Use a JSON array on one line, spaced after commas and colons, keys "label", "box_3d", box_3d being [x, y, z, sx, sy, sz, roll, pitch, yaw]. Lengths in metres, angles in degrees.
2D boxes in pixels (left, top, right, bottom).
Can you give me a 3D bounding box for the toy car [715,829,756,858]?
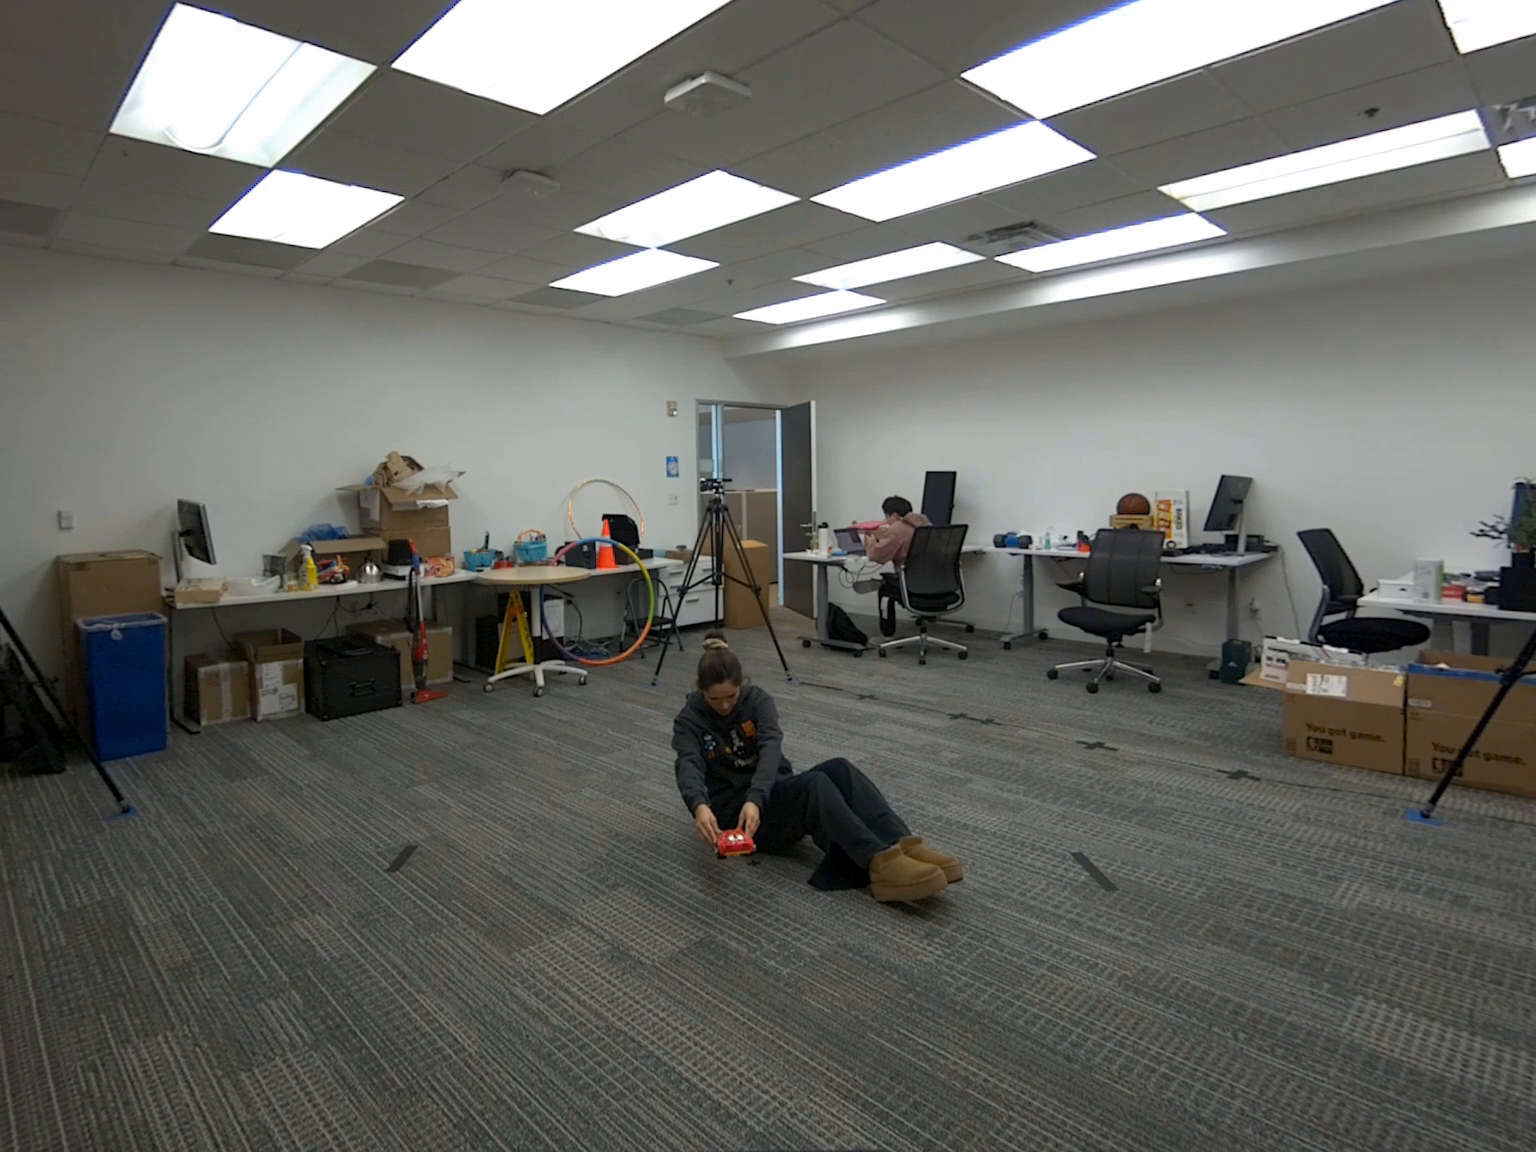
[{"label": "toy car", "box_3d": [-0.111, 0.857, 2.703, 0.129, 0.085, 0.251, -3, -18, -7]}]
